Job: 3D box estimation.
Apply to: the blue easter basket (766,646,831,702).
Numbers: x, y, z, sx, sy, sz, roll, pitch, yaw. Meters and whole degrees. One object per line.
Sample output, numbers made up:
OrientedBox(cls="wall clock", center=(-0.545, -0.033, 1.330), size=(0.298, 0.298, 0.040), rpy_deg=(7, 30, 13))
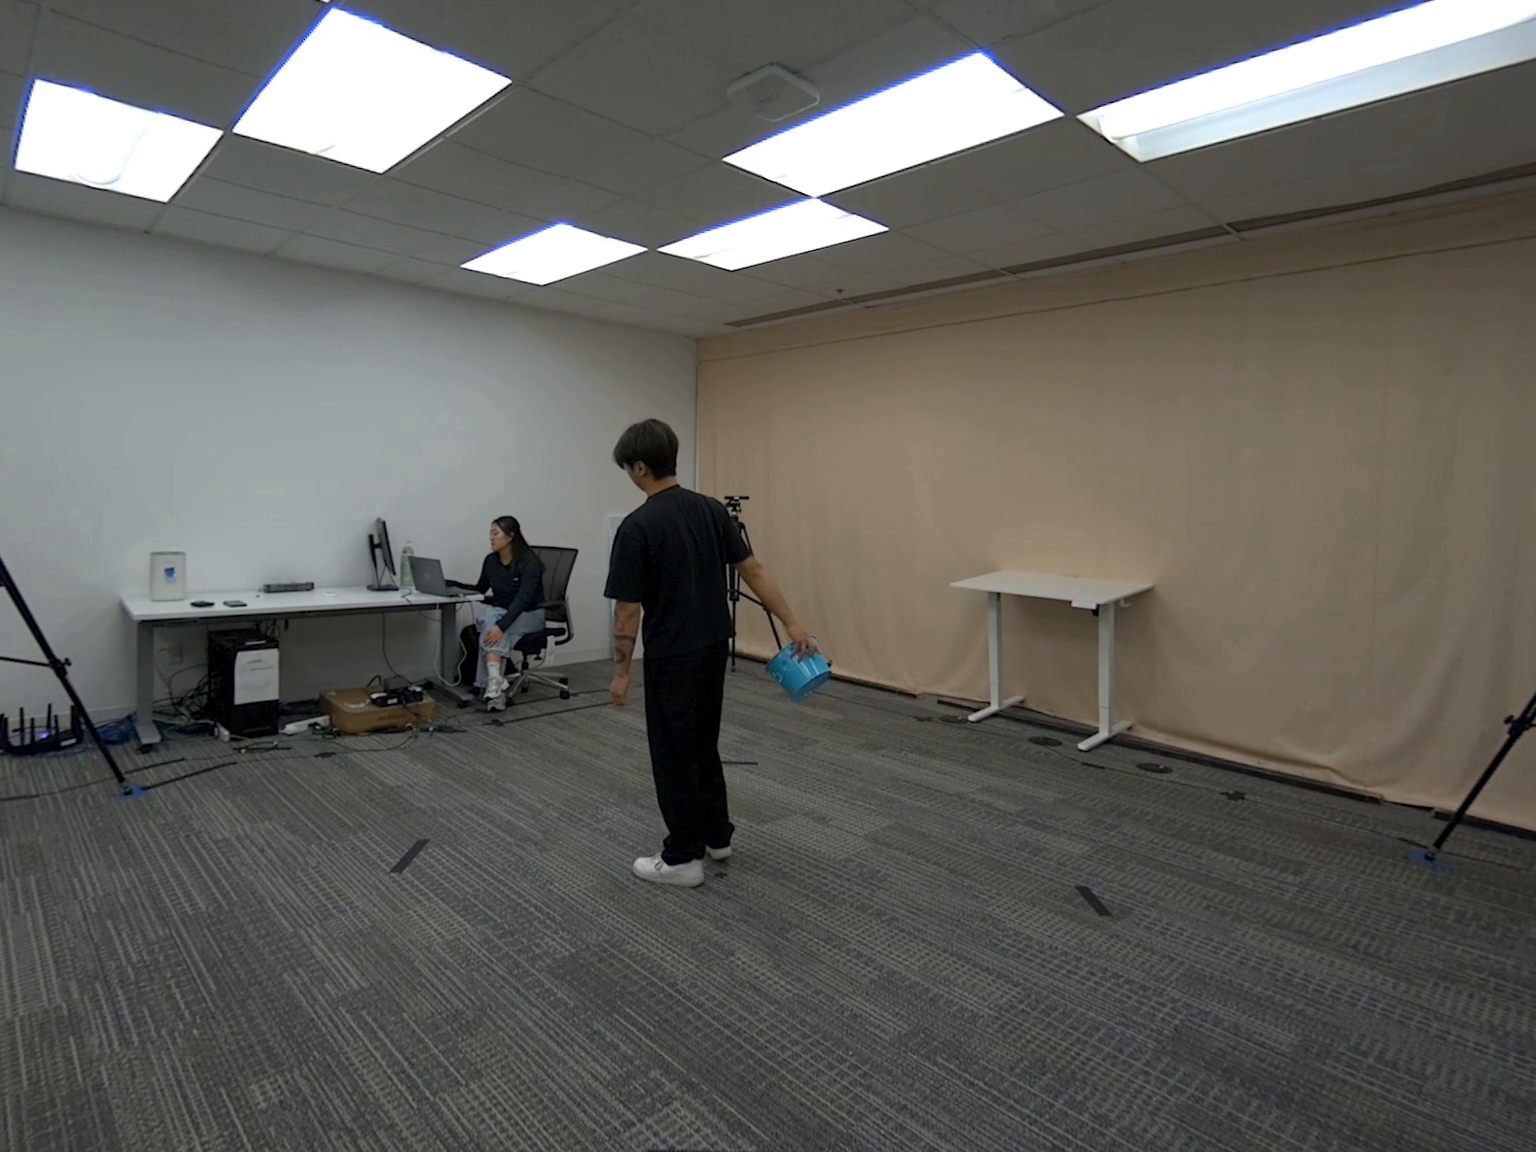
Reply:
OrientedBox(cls="blue easter basket", center=(0.117, 0.357, 3.235), size=(0.238, 0.243, 0.160), rpy_deg=(-4, 50, -50))
